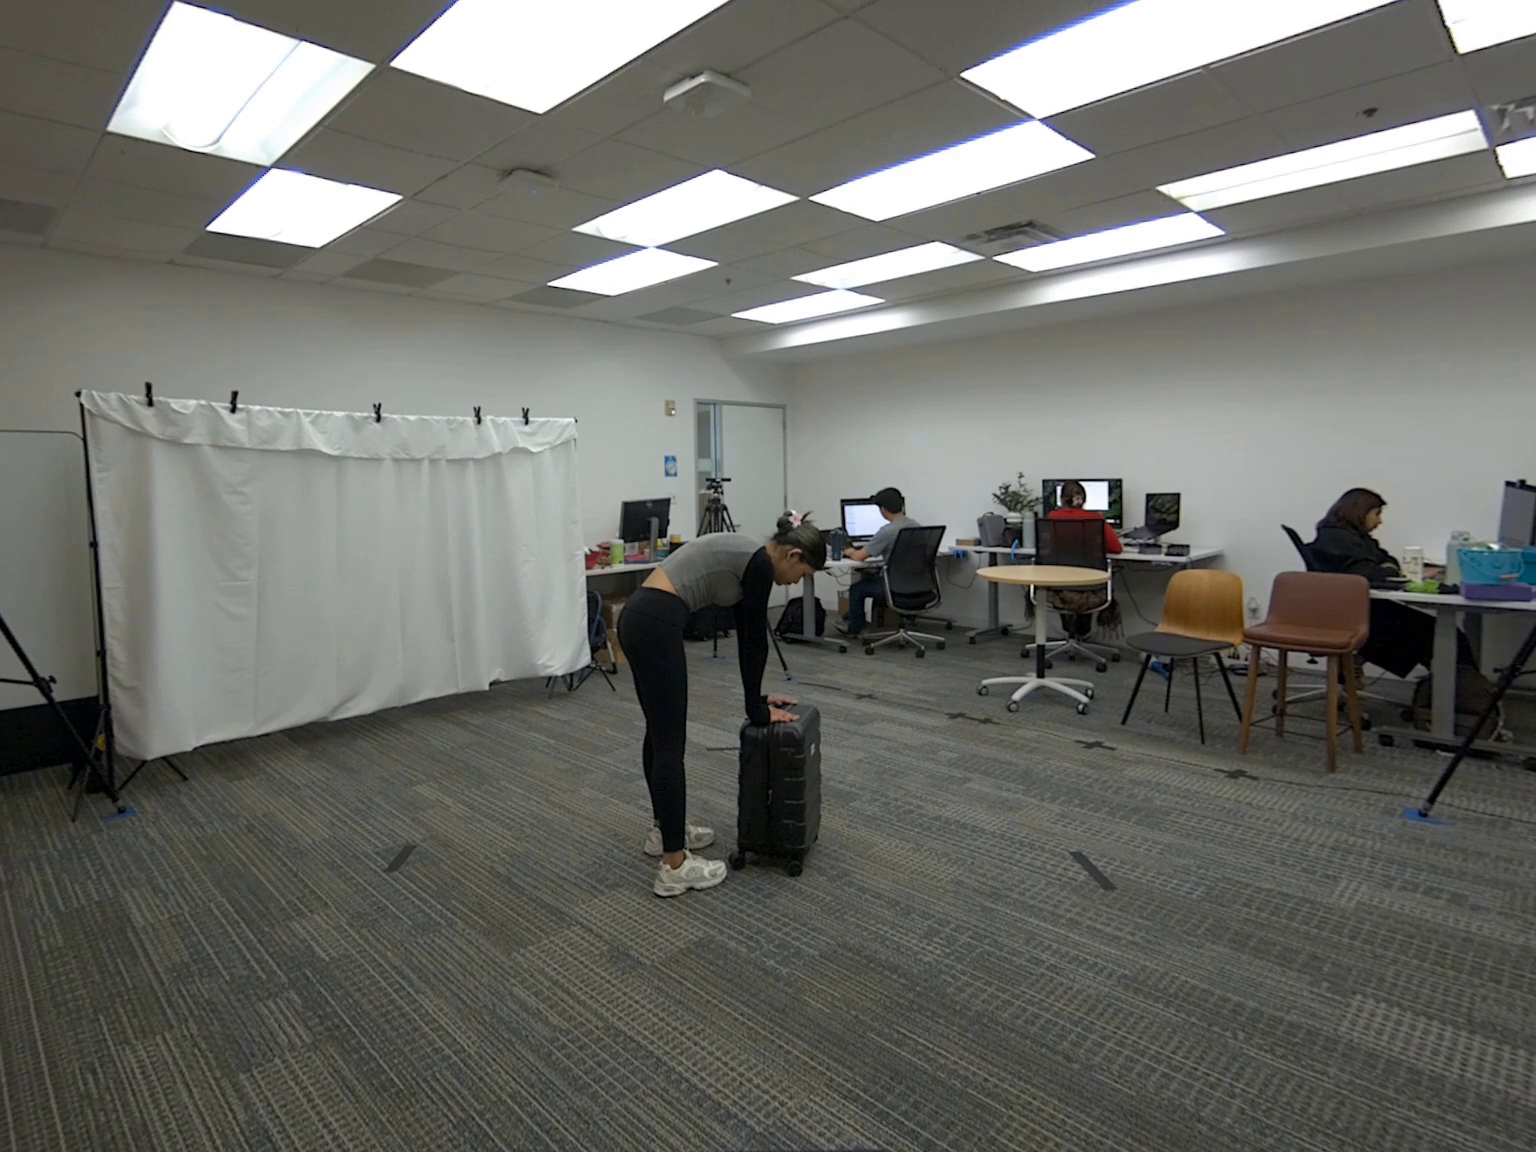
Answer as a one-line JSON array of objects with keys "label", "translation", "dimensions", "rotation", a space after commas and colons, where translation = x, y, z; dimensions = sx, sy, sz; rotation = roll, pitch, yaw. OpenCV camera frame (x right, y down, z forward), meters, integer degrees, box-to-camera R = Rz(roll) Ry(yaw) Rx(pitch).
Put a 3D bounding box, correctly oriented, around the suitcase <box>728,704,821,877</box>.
[{"label": "suitcase", "translation": [0.043, 0.759, 3.168], "dimensions": [0.253, 0.547, 0.370], "rotation": [2, 4, 17]}]
